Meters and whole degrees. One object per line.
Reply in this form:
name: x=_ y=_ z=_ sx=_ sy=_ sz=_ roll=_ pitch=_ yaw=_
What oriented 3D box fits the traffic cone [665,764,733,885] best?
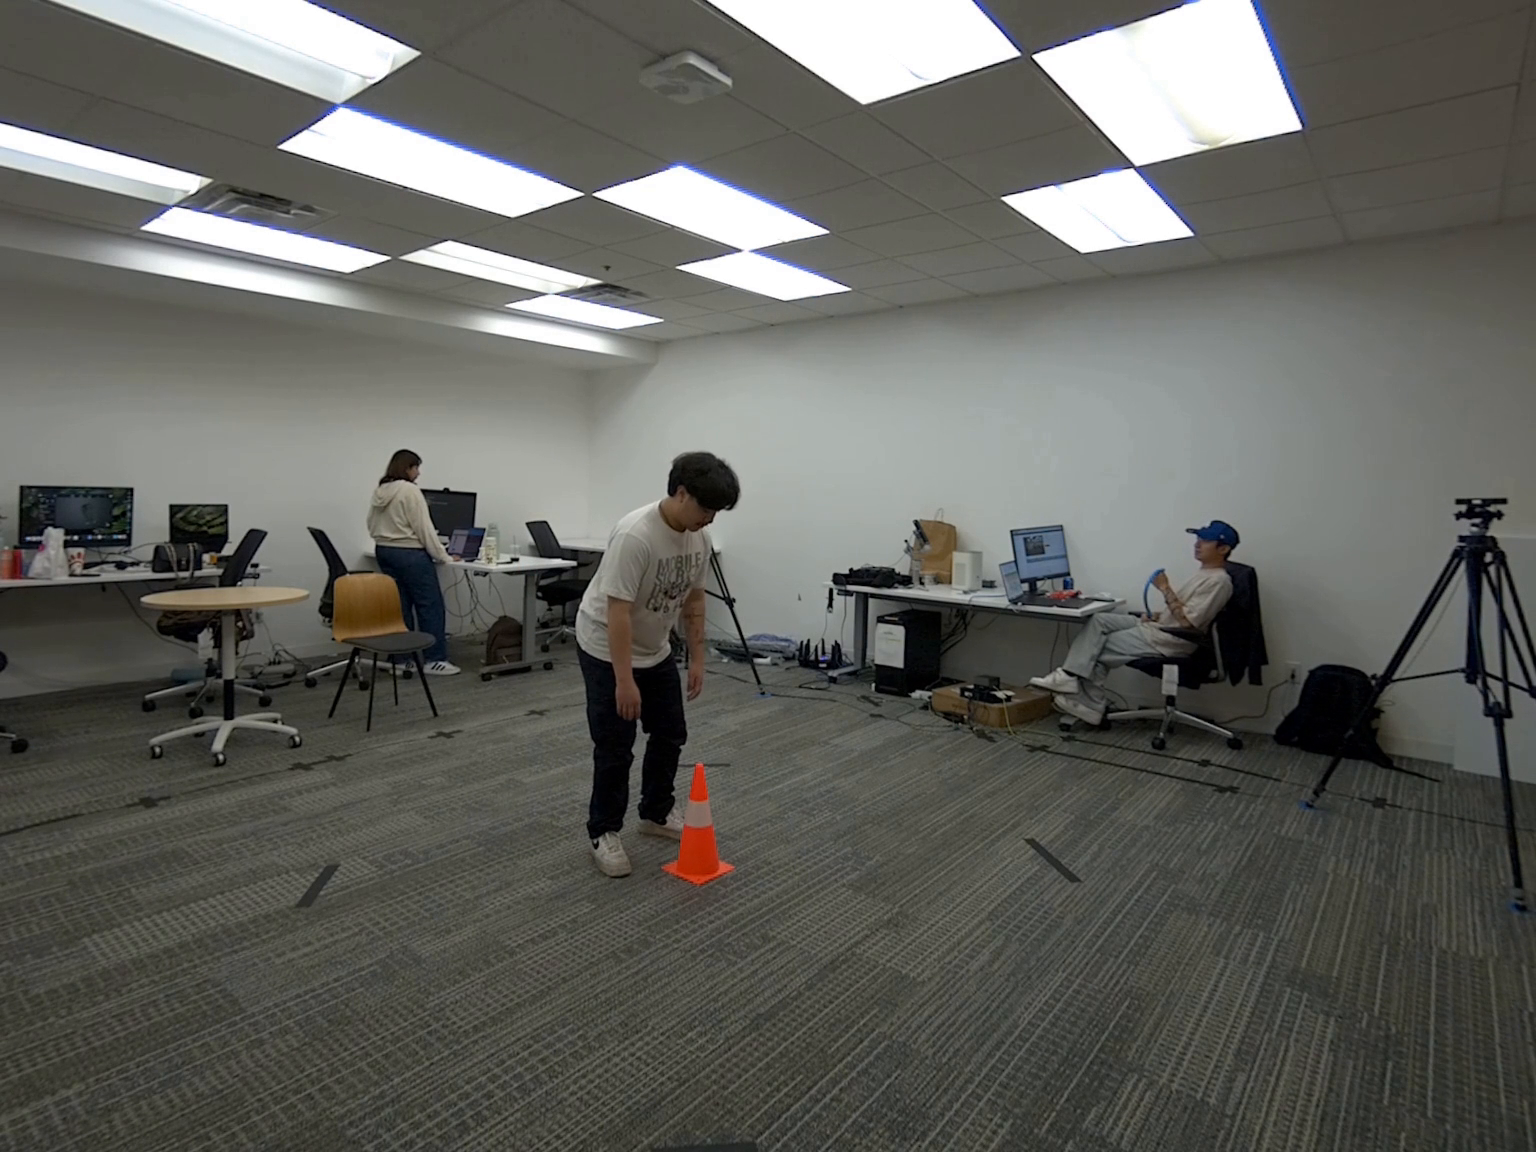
traffic cone: x=-0.262 y=0.885 z=3.113 sx=0.209 sy=0.383 sz=0.199 roll=3 pitch=3 yaw=32
